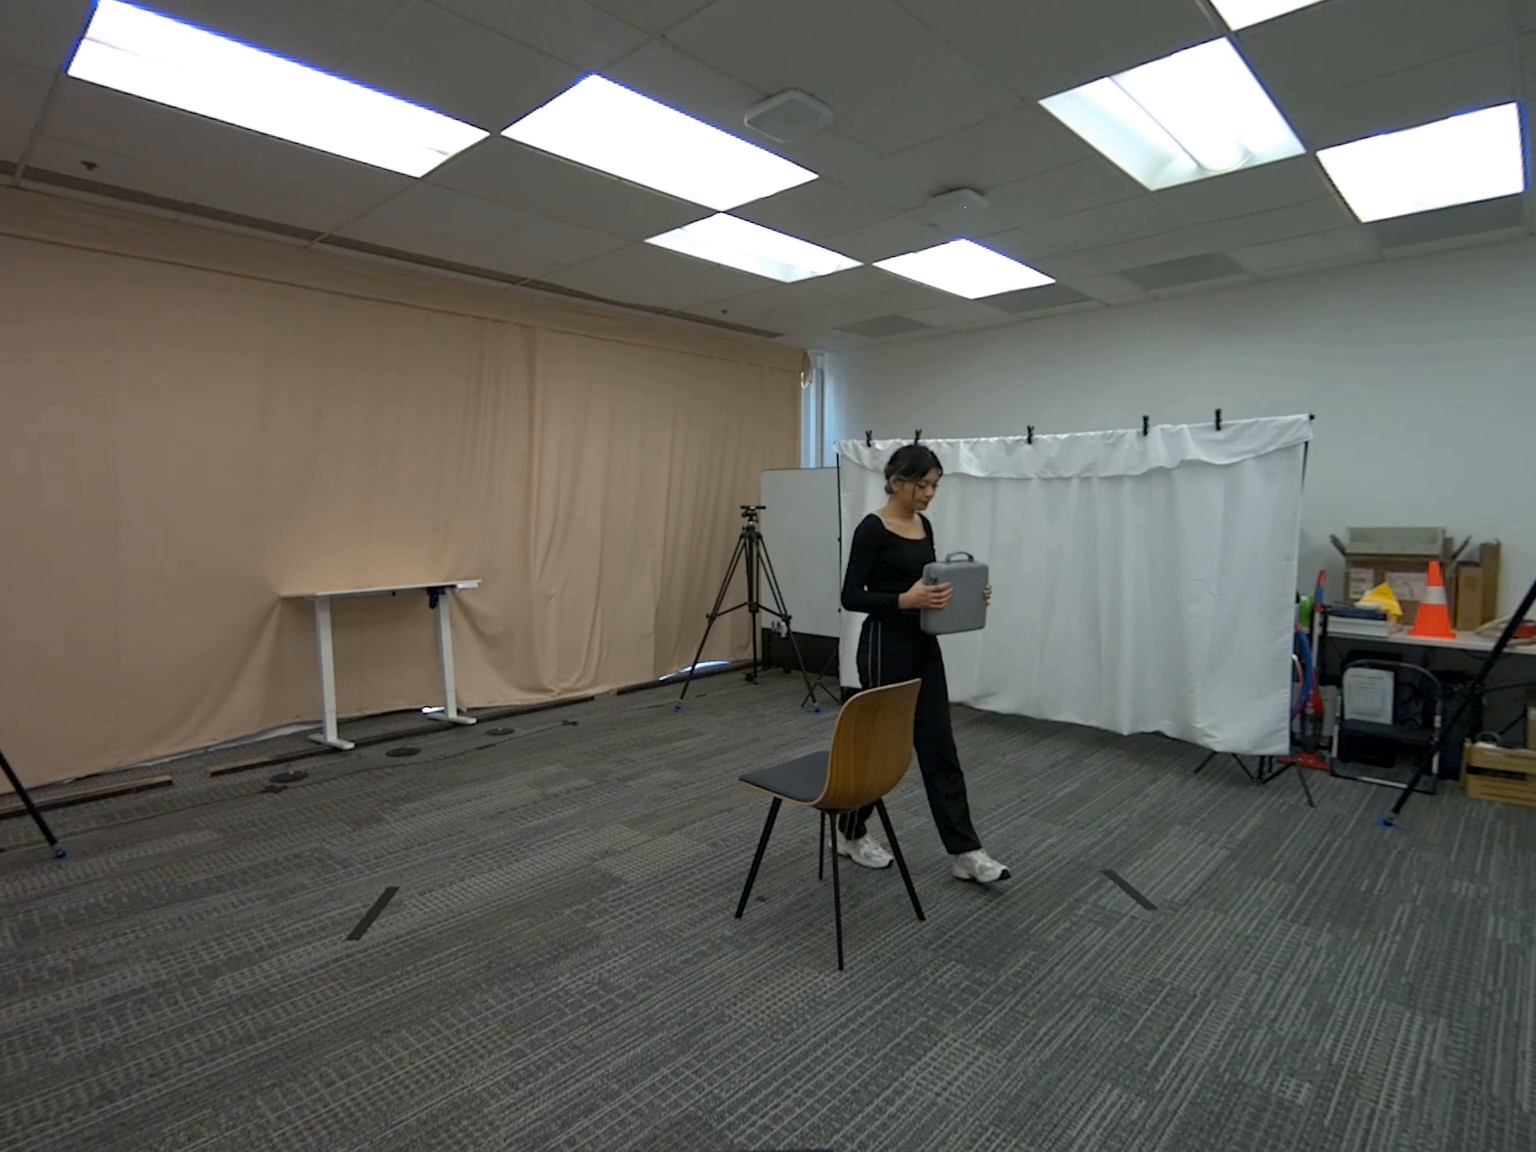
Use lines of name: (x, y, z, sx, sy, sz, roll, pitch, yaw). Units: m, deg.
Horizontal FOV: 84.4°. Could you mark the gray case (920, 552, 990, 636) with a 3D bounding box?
gray case: (0.673, 0.069, 3.010, 0.250, 0.259, 0.107, -3, 10, -29)
